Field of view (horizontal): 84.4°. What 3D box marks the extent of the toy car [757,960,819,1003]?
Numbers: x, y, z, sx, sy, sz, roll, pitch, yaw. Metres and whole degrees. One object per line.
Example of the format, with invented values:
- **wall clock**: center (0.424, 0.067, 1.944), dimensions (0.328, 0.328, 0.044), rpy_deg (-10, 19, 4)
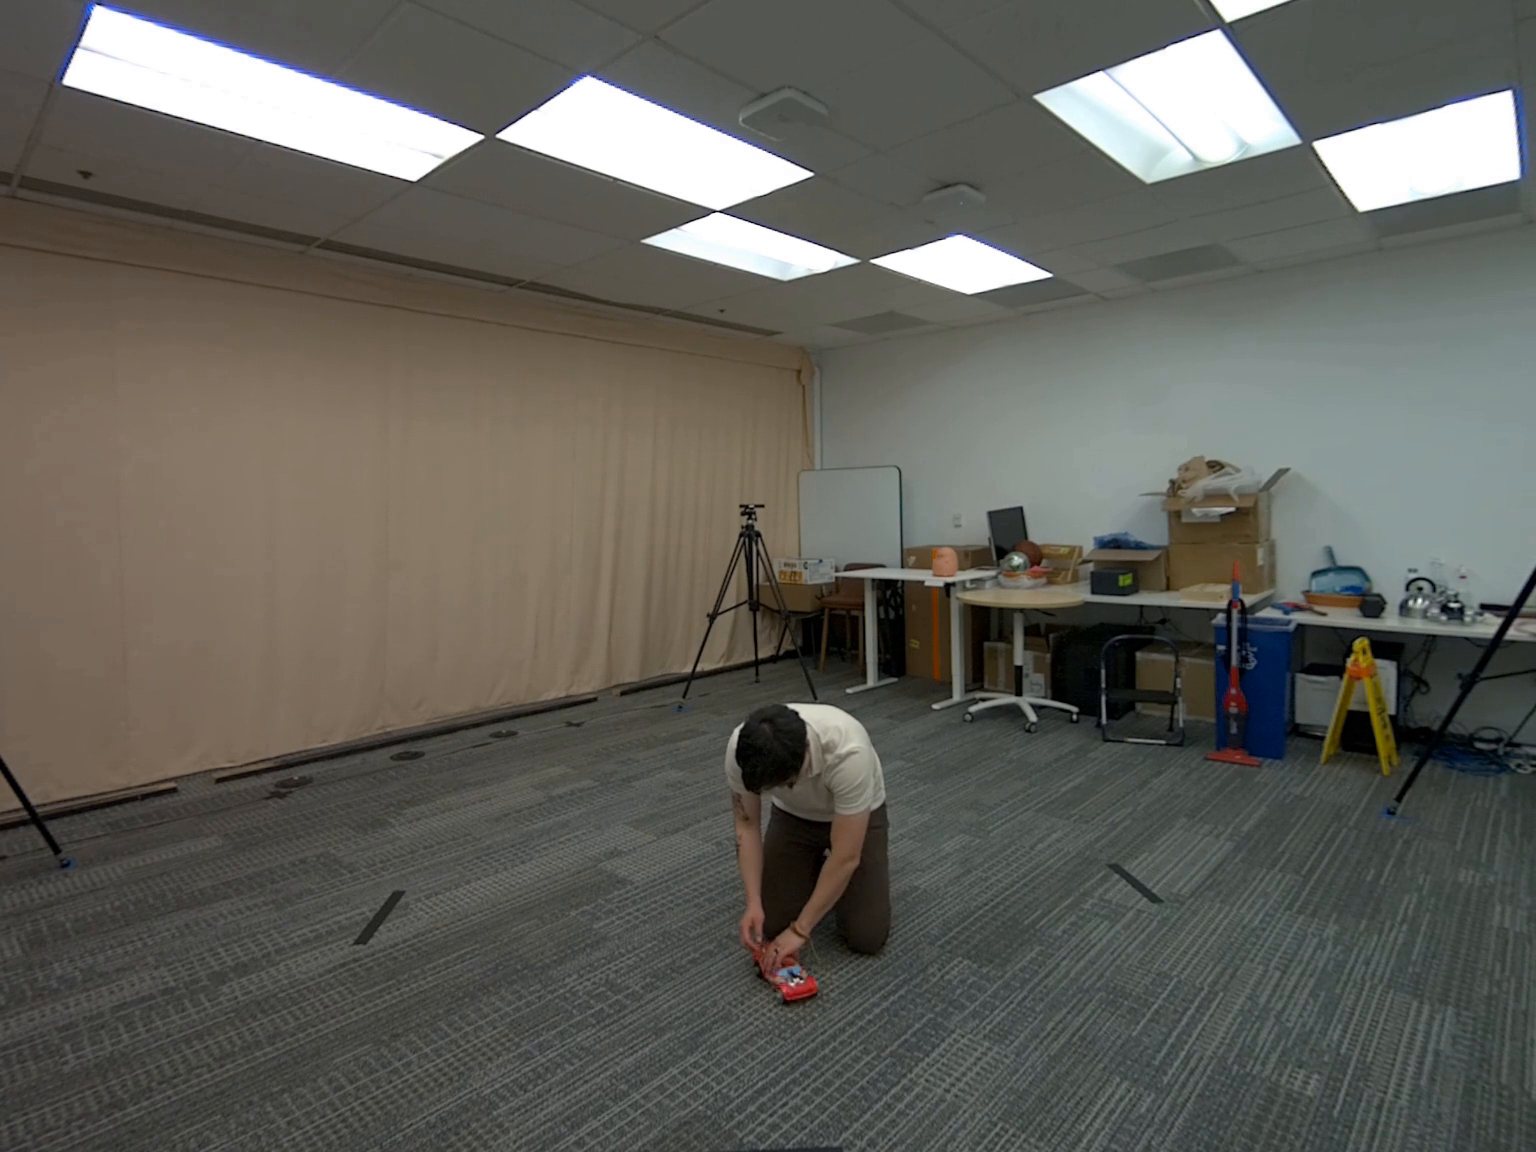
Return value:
- **toy car**: center (0.035, 1.150, 2.453), dimensions (0.127, 0.082, 0.262), rpy_deg (-4, 14, -24)
